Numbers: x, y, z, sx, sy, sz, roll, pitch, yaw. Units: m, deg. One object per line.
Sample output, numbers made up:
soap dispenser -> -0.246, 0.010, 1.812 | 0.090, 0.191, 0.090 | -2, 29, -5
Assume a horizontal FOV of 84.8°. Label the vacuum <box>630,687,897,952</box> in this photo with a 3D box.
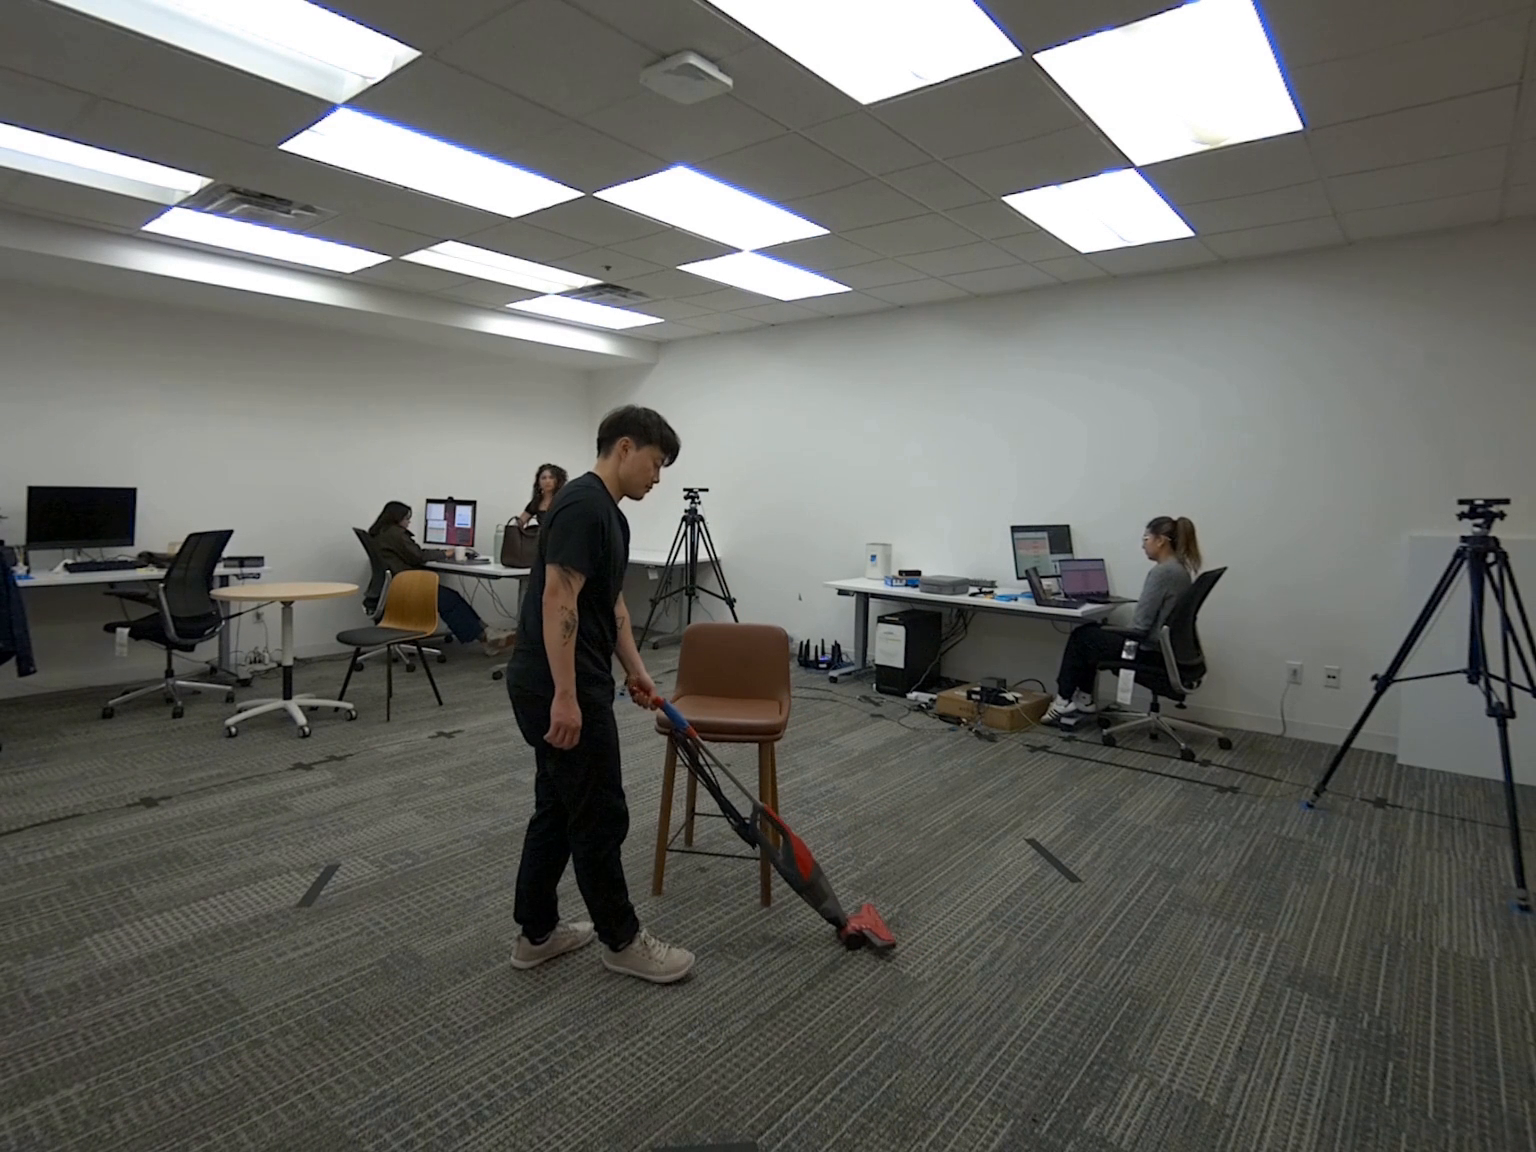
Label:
vacuum -> -0.055, 0.750, 2.587 | 1.040, 0.144, 0.255 | 44, -3, -6
